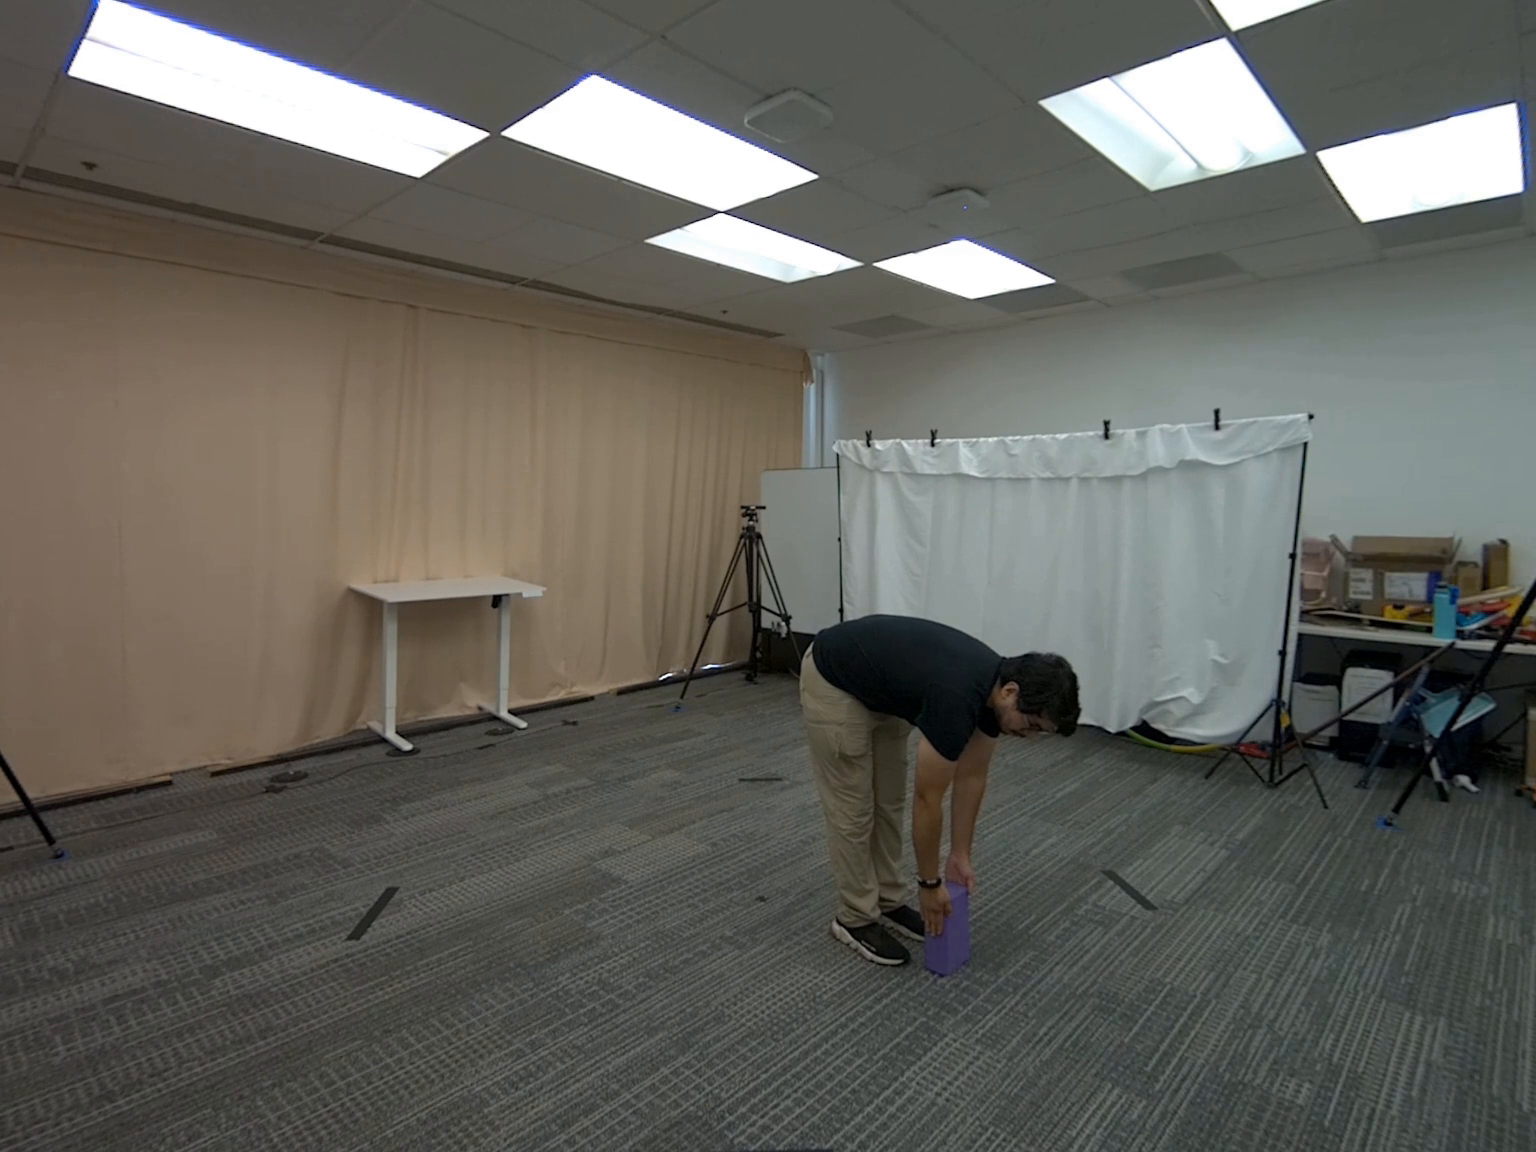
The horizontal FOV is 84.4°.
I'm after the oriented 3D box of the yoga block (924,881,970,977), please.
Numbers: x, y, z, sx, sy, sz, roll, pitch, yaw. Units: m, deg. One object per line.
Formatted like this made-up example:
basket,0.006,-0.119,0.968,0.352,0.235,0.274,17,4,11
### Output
yoga block,0.550,1.069,2.545,0.144,0.229,0.079,-2,6,-45
